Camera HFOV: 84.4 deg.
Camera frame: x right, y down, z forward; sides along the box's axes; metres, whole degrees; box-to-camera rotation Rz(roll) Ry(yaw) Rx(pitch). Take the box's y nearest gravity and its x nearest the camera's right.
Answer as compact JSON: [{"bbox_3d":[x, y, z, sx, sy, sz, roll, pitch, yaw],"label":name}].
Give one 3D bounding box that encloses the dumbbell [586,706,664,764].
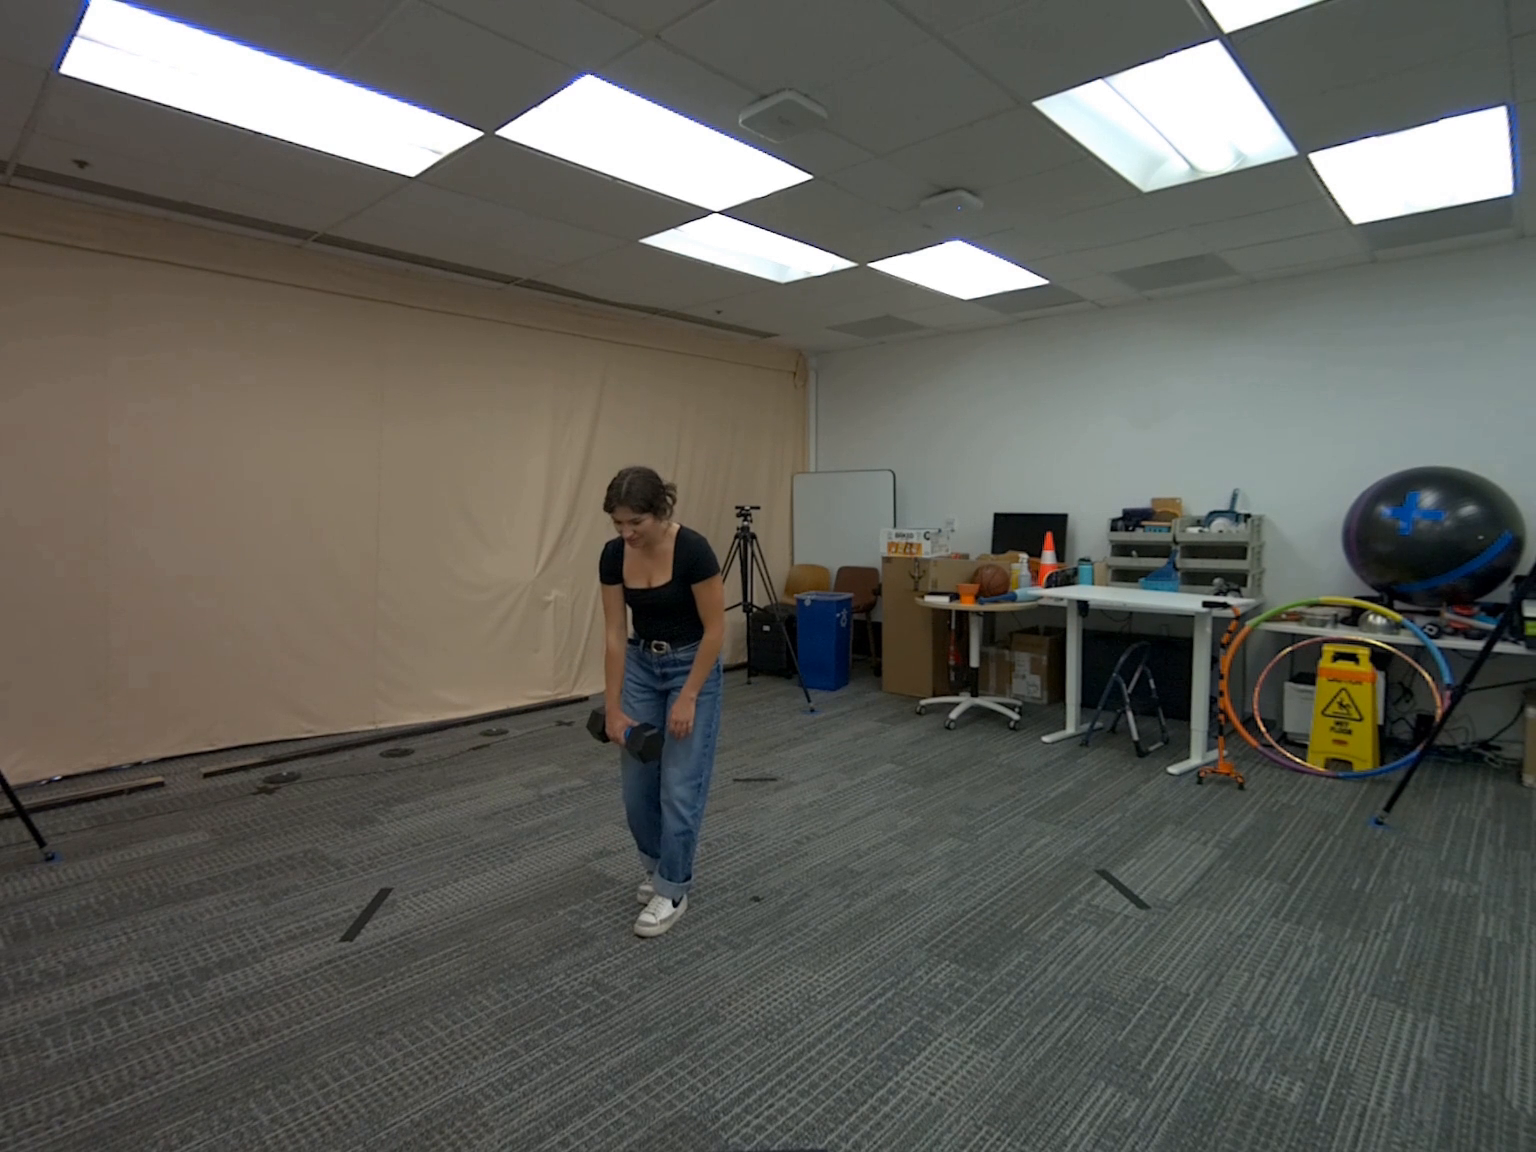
[{"bbox_3d":[-0.471,0.527,2.799,0.304,0.119,0.108,10,46,41],"label":"dumbbell"}]
